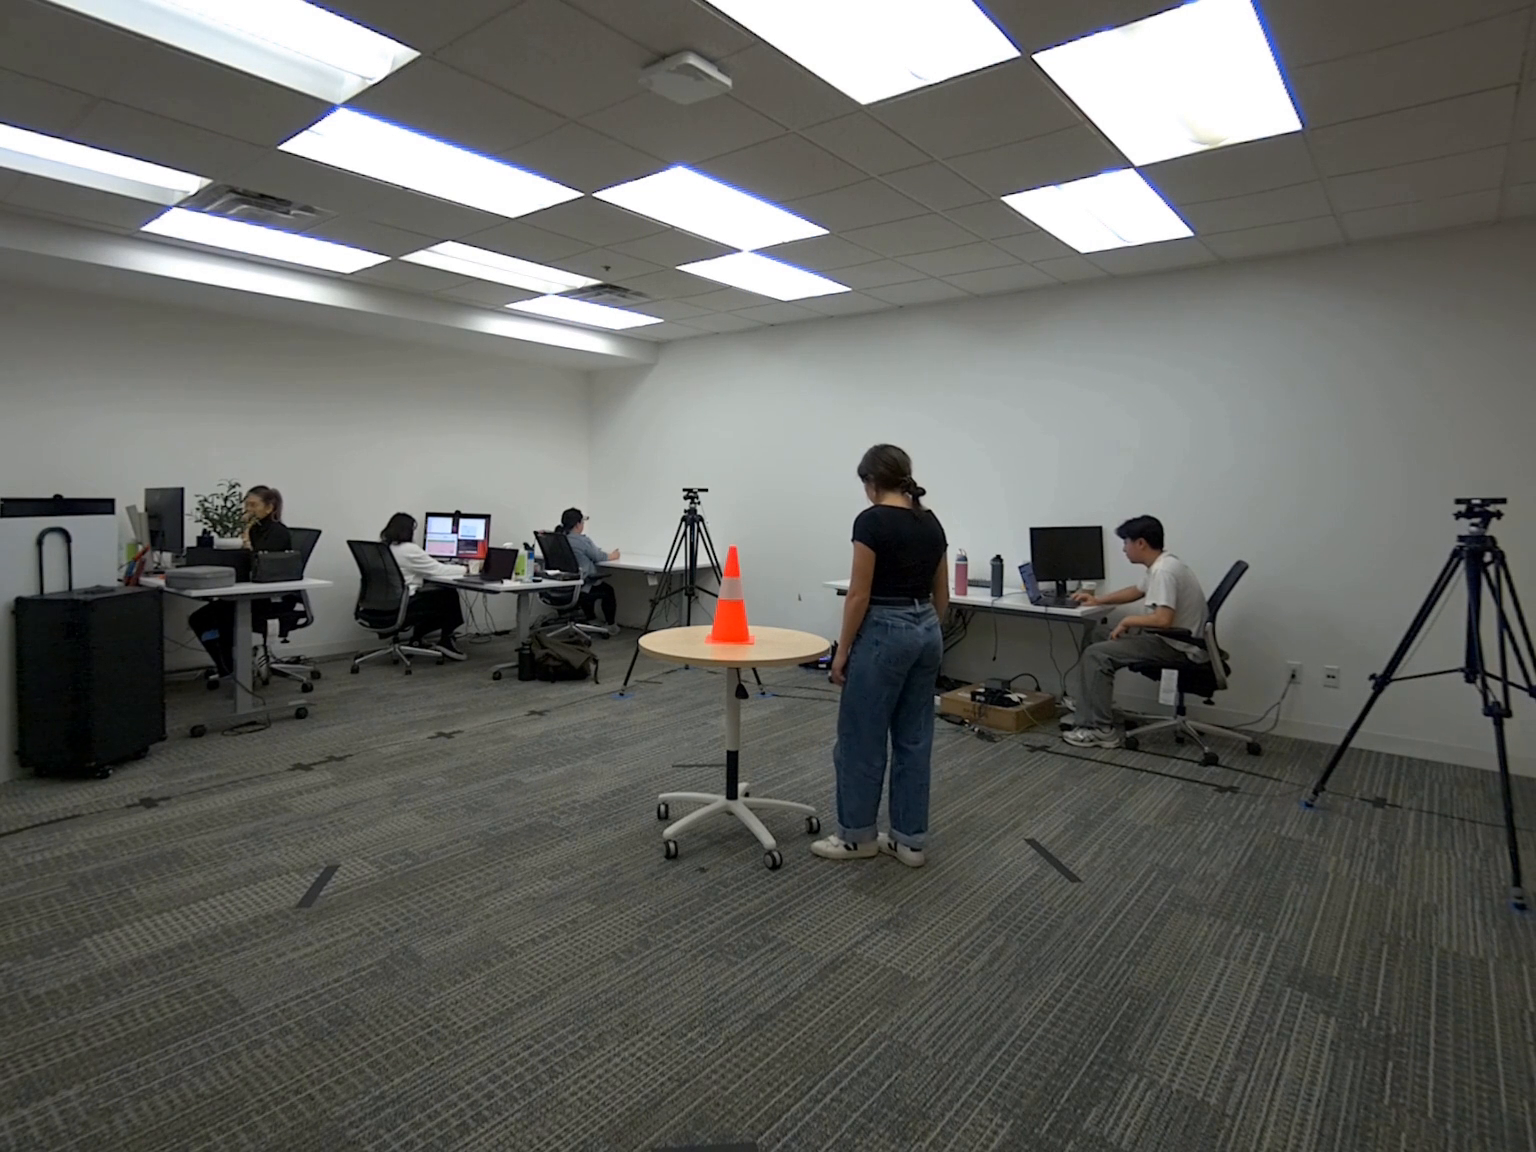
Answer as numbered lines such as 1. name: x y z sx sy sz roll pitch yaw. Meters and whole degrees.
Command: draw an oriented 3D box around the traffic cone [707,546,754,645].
1. traffic cone: -0.144 0.063 3.443 0.204 0.382 0.205 2 4 -4
